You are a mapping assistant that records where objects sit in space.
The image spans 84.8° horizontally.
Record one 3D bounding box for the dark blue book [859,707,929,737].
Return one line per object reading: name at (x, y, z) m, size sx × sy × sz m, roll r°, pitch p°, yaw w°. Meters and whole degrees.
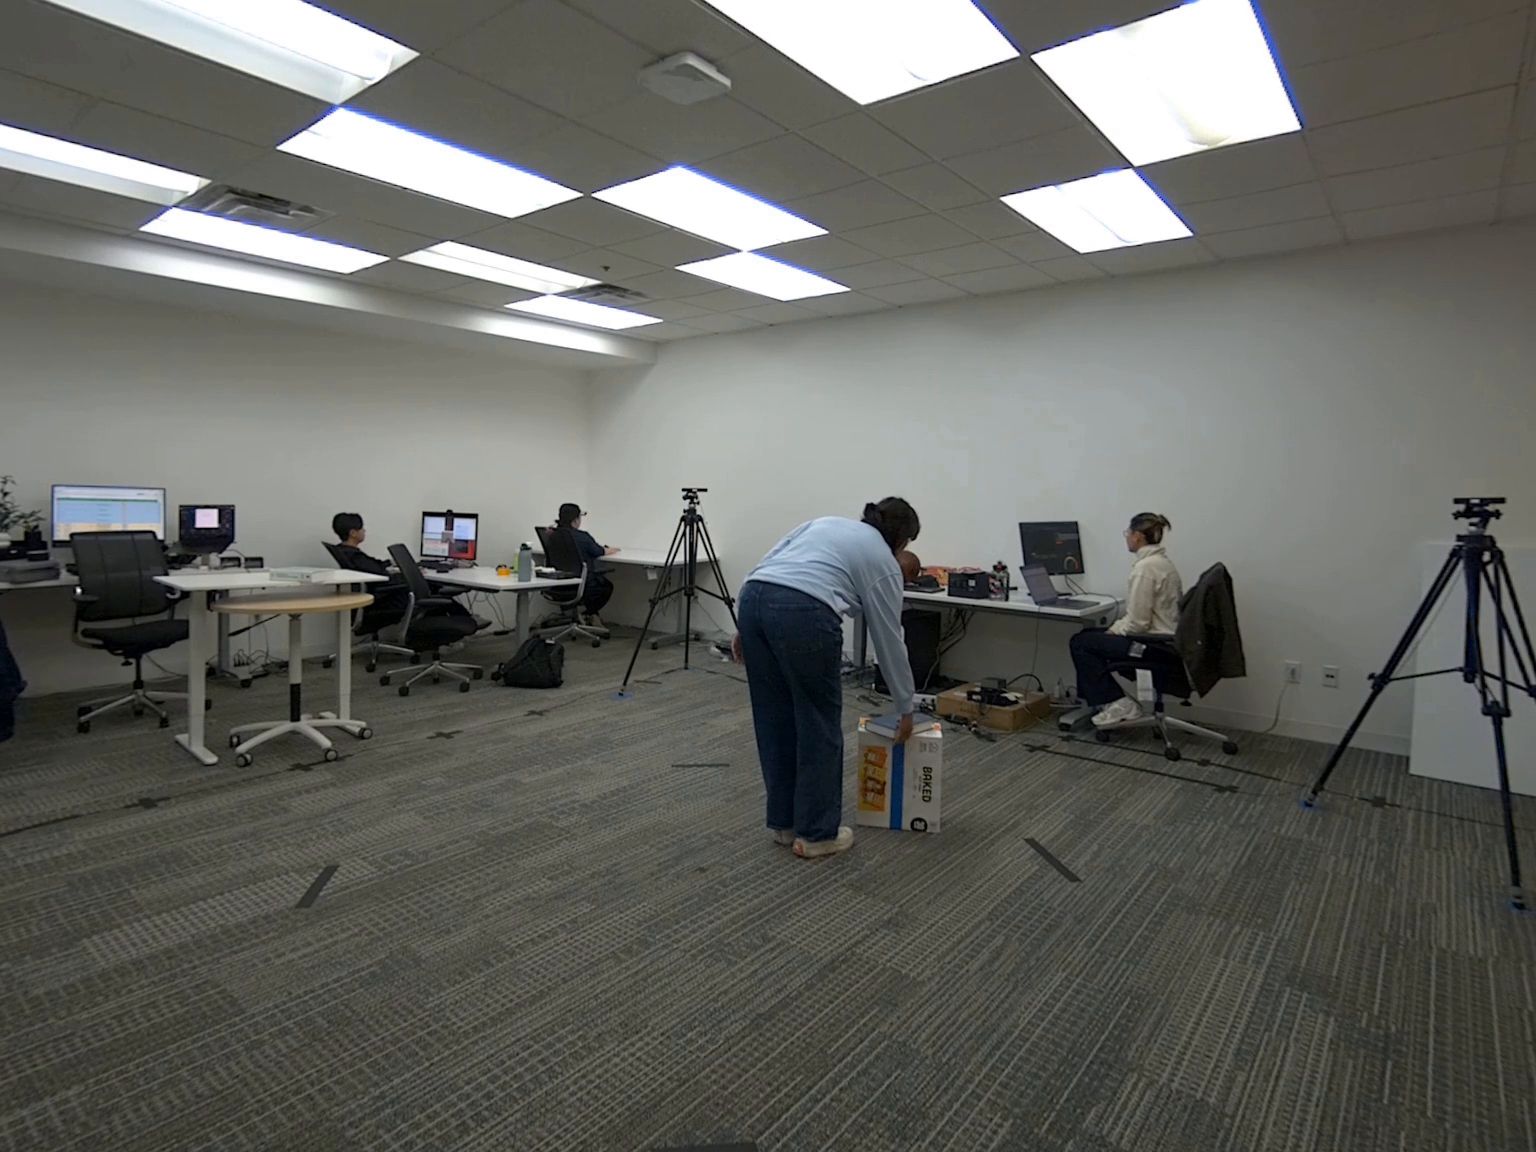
dark blue book at (0.531, 0.610, 3.555) m, size 0.238 × 0.045 × 0.169 m, roll -5°, pitch 9°, yaw -39°
